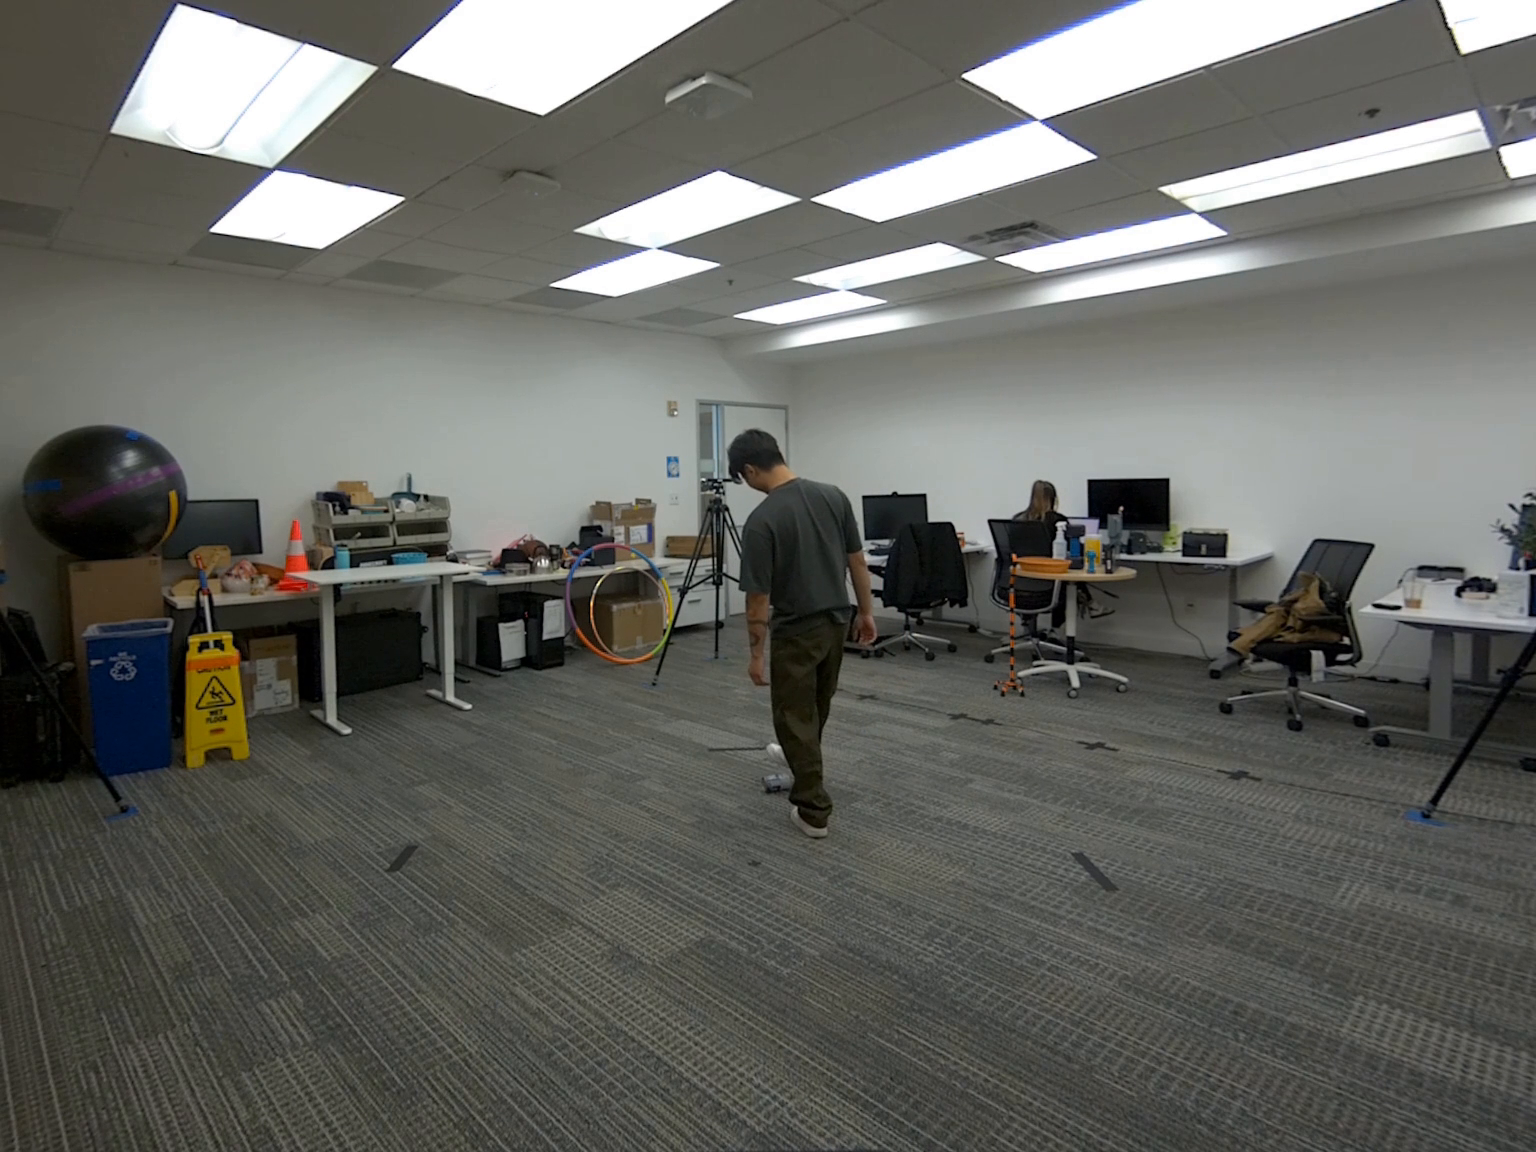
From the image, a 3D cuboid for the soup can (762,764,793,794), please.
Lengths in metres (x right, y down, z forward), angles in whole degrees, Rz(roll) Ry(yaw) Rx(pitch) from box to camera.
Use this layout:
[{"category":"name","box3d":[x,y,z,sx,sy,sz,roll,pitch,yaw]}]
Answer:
[{"category":"soup can","box3d":[0.054,0.927,3.839,0.121,0.067,0.067,3,5,-3]}]
